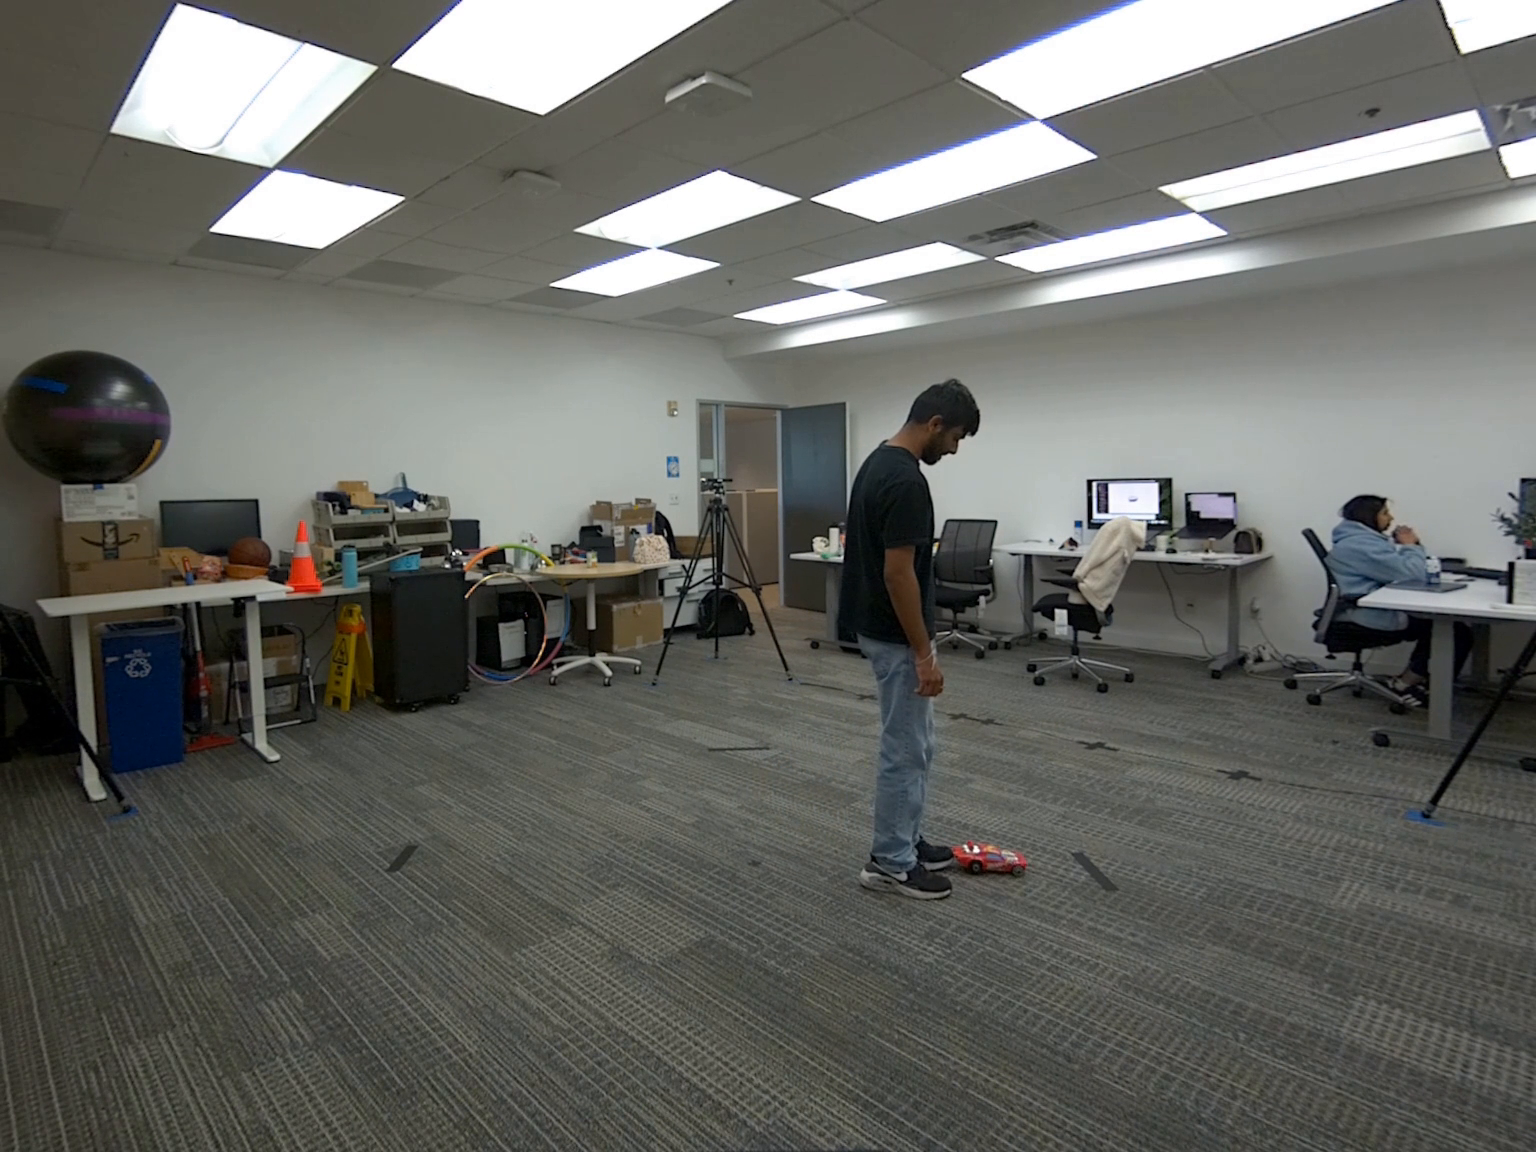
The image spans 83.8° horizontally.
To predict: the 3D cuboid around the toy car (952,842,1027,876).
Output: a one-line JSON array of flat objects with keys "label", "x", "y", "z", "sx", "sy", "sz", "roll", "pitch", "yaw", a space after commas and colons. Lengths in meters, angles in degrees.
[{"label": "toy car", "x": 0.770, "y": 0.995, "z": 3.021, "sx": 0.256, "sy": 0.083, "sz": 0.130, "roll": 15, "pitch": 6, "yaw": 4}]
